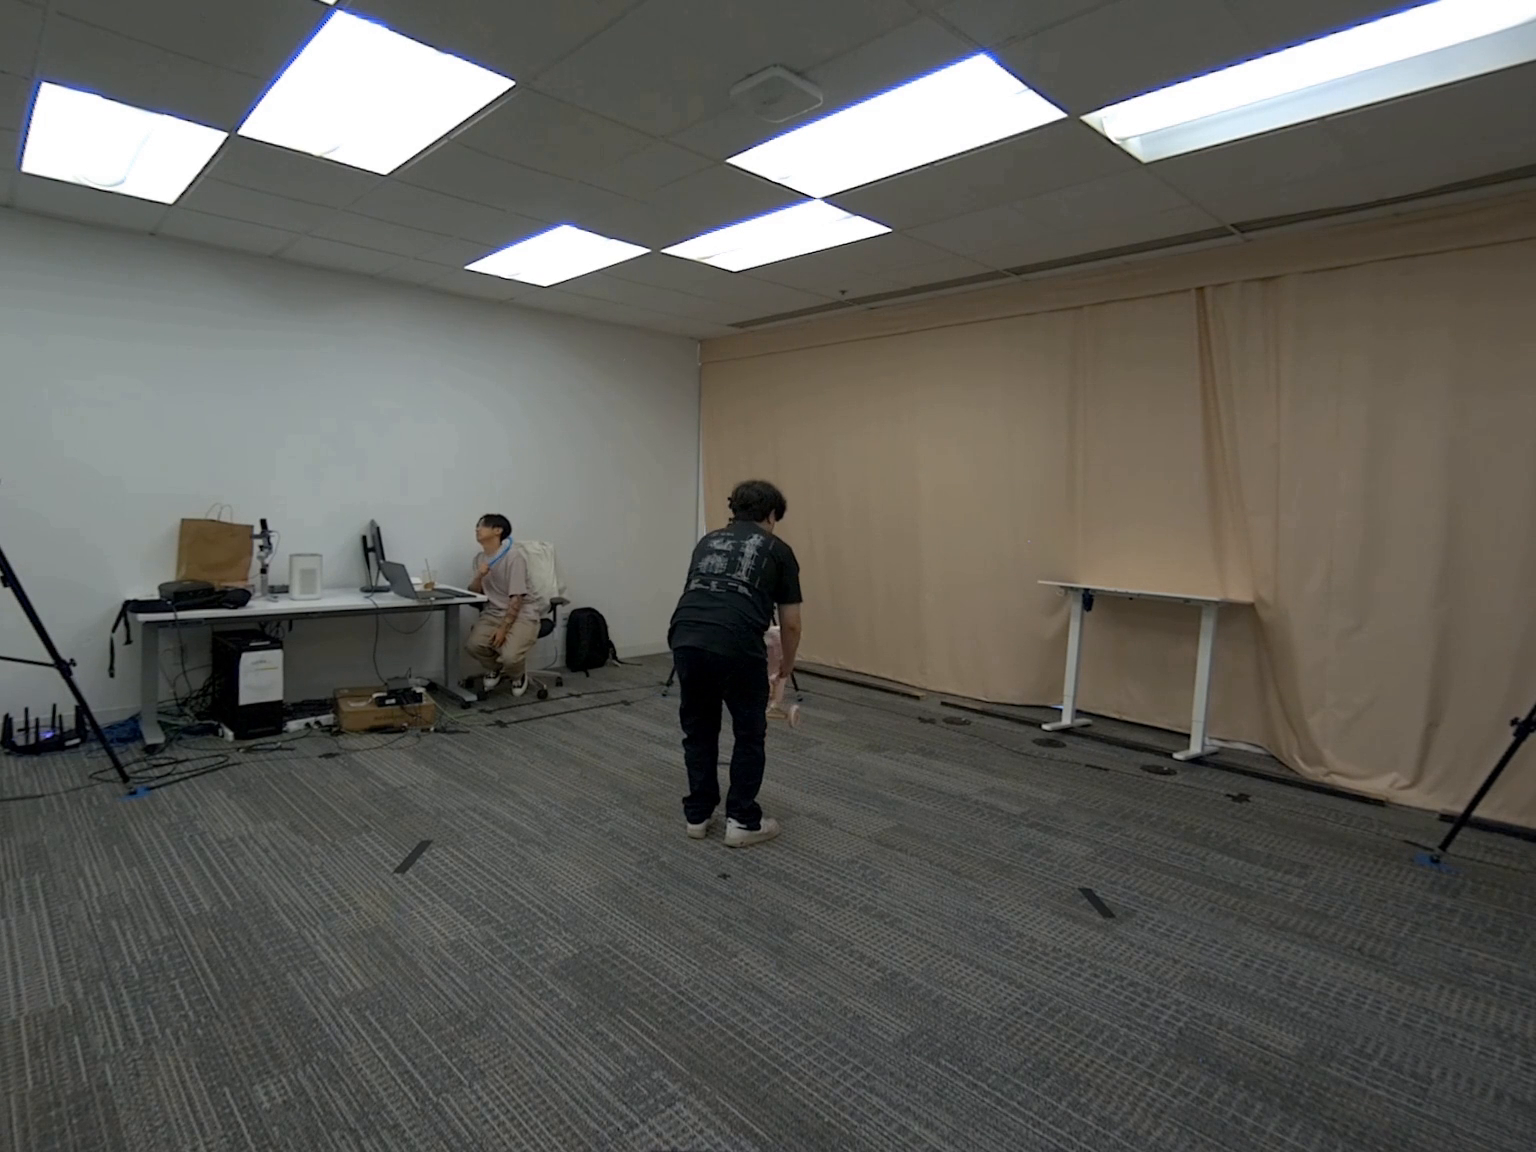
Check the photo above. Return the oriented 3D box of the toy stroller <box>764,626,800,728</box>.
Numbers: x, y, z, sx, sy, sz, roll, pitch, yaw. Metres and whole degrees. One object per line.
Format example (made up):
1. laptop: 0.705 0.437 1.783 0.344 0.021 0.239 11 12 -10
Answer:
1. toy stroller: -0.035 0.472 3.847 0.287 0.539 0.331 0 -13 33
